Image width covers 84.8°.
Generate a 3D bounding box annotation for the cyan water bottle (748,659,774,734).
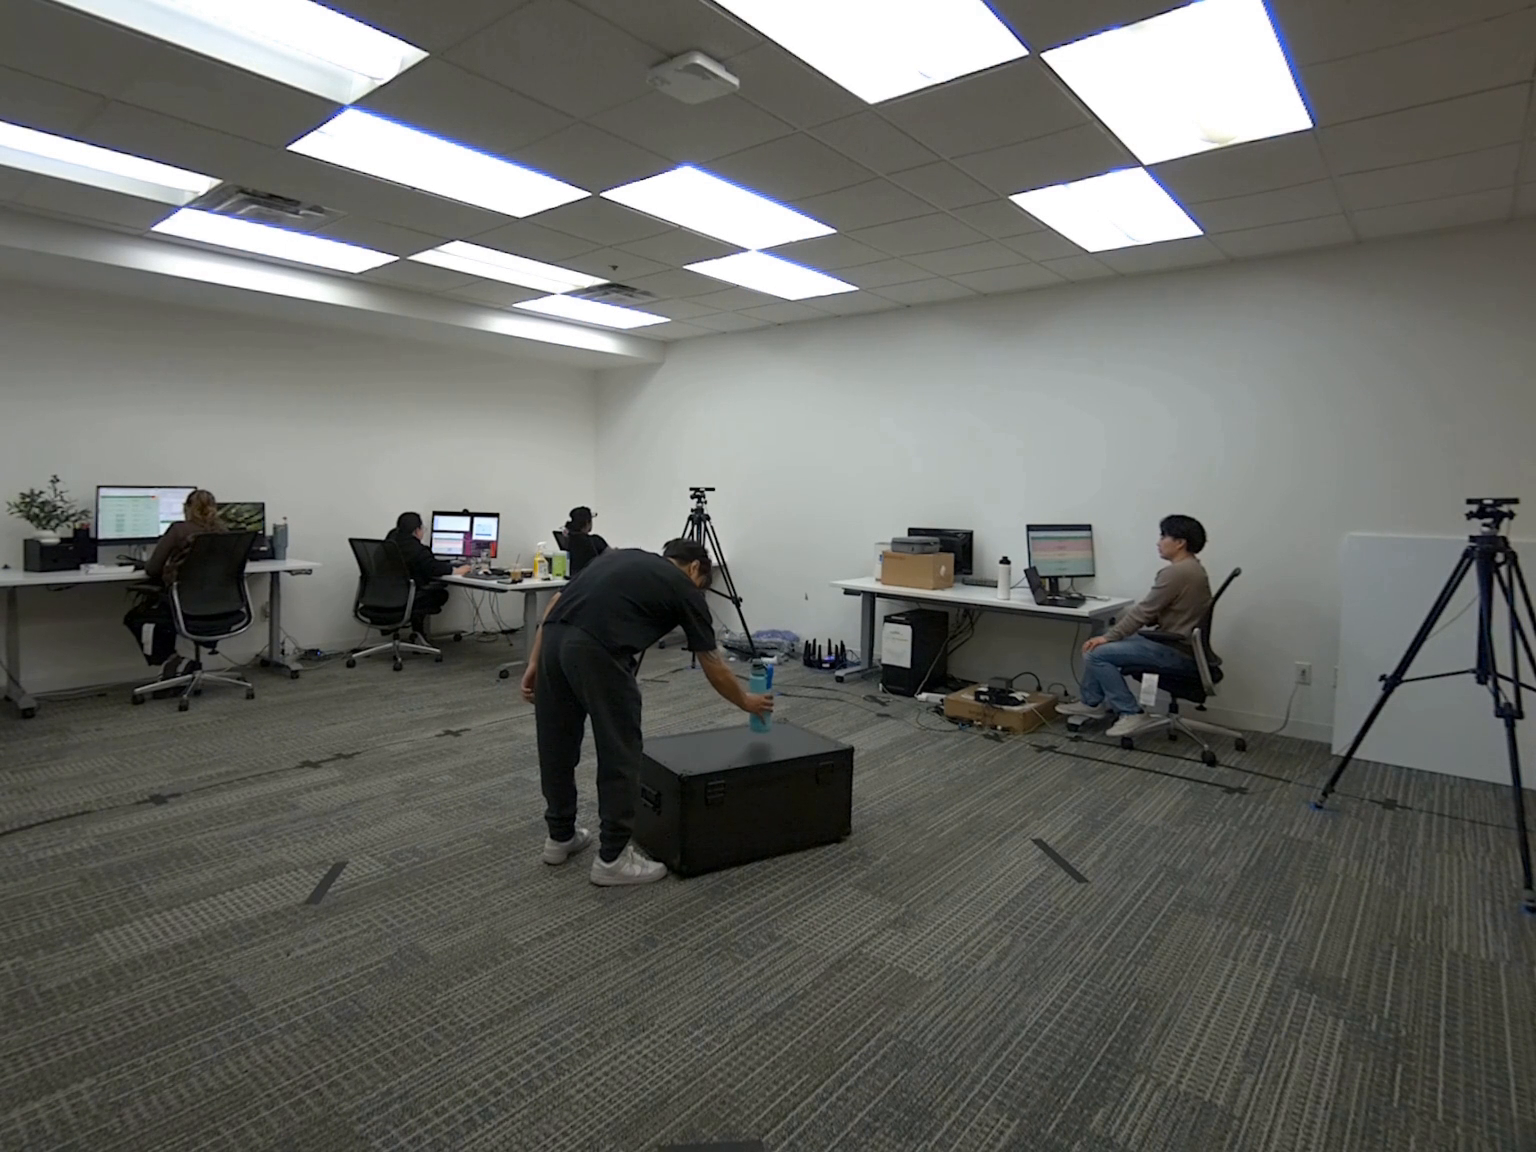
[{"bbox_3d":[-0.040,0.471,3.415,0.092,0.282,0.093,3,4,-2],"label":"cyan water bottle"}]
